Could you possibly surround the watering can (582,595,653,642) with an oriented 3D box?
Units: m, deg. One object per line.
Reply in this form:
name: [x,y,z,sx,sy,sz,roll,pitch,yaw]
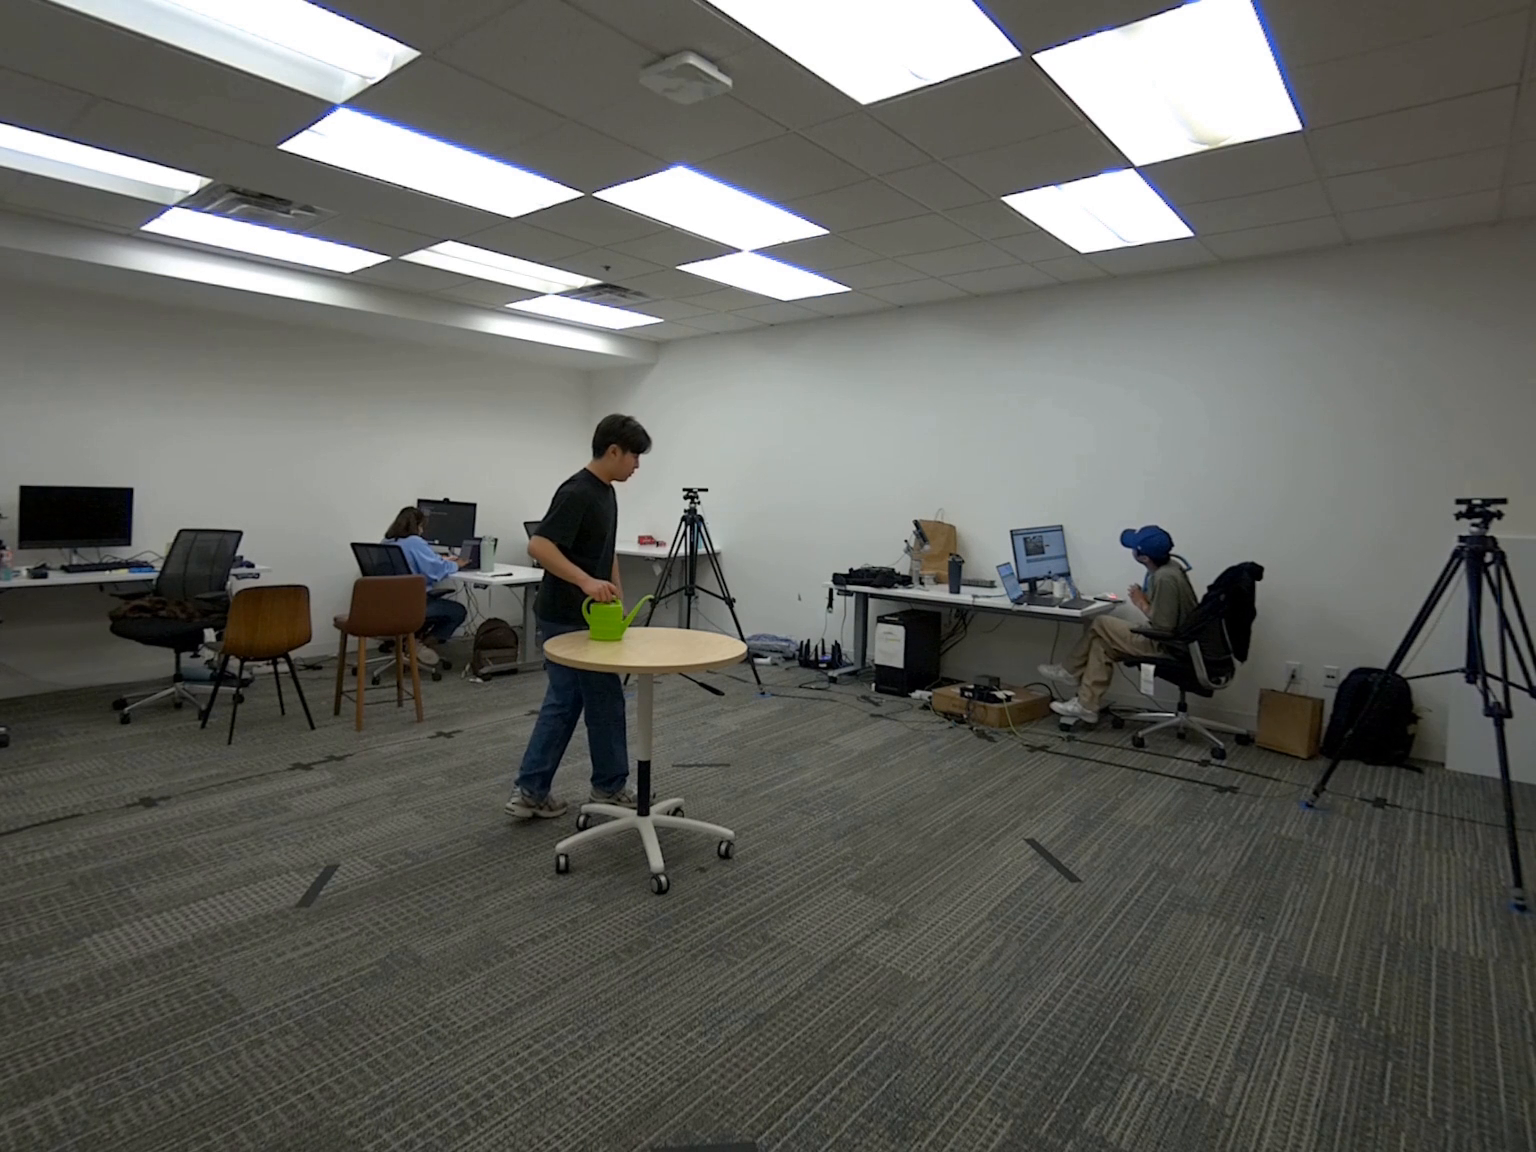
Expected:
watering can: [-0.608,0.163,3.292,0.285,0.176,0.096,3,7,22]
